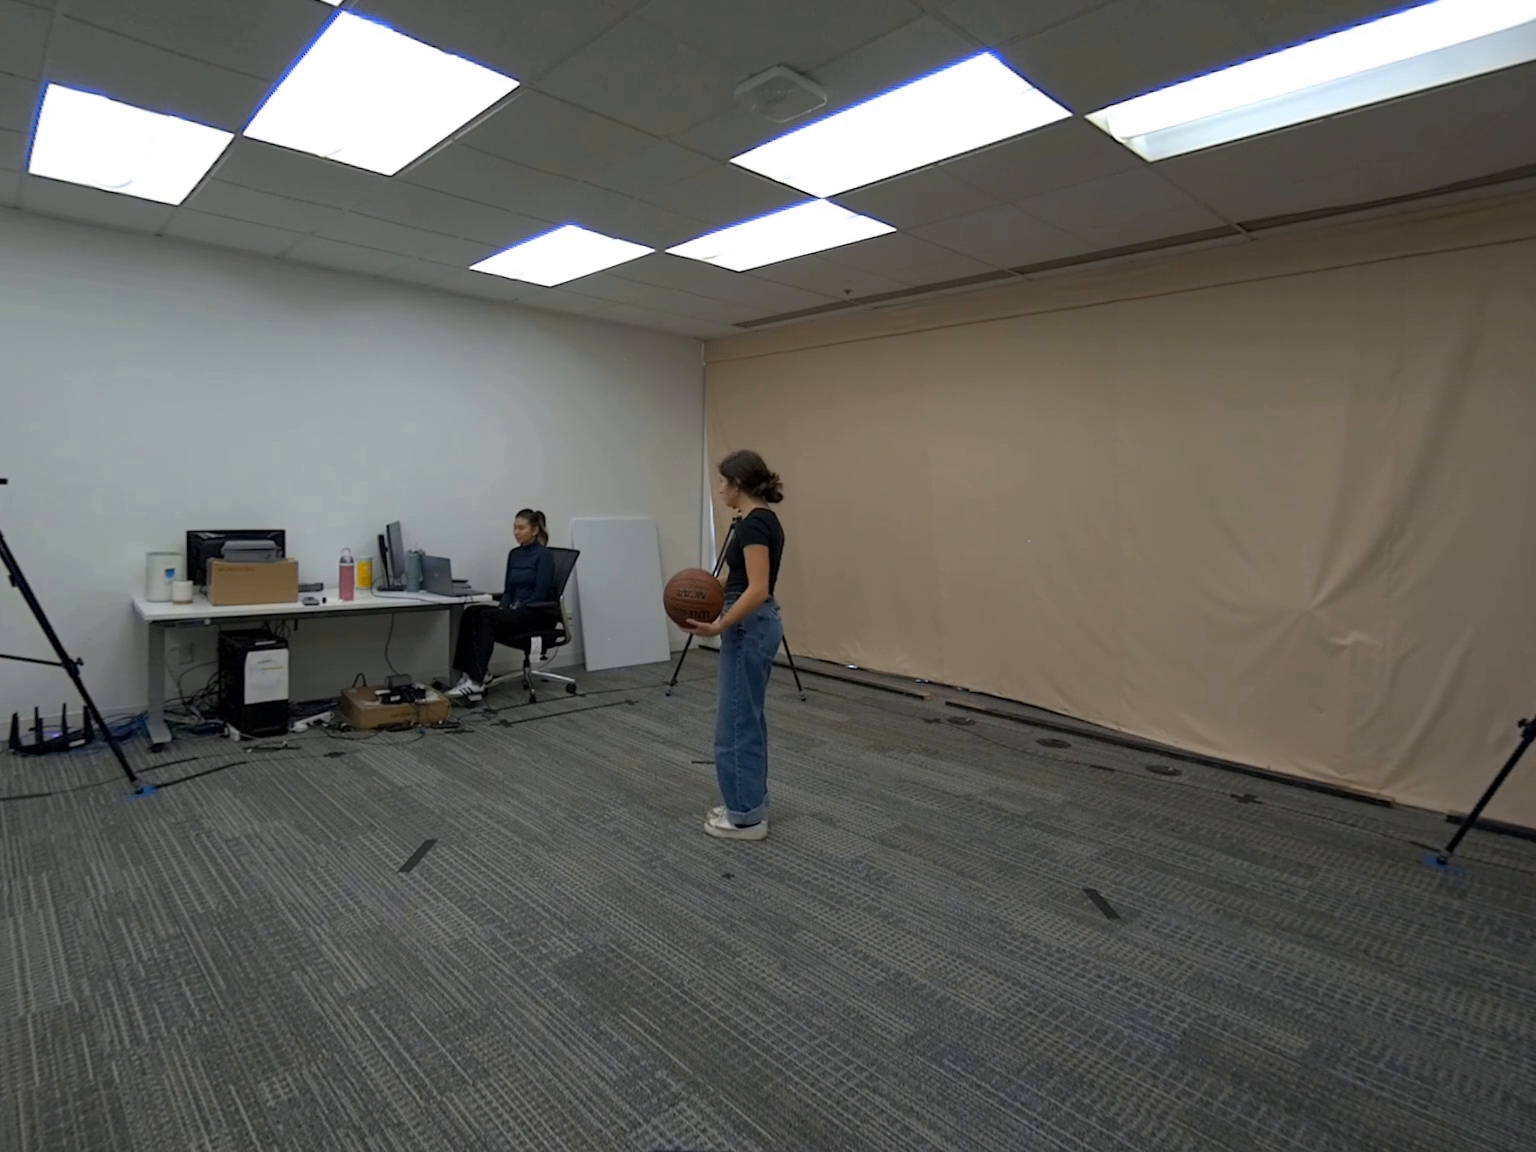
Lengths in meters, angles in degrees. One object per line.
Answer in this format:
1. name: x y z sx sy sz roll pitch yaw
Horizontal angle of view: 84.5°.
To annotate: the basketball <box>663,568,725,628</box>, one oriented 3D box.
1. basketball: -0.295 0.088 3.287 0.236 0.235 0.237 1 4 -1
